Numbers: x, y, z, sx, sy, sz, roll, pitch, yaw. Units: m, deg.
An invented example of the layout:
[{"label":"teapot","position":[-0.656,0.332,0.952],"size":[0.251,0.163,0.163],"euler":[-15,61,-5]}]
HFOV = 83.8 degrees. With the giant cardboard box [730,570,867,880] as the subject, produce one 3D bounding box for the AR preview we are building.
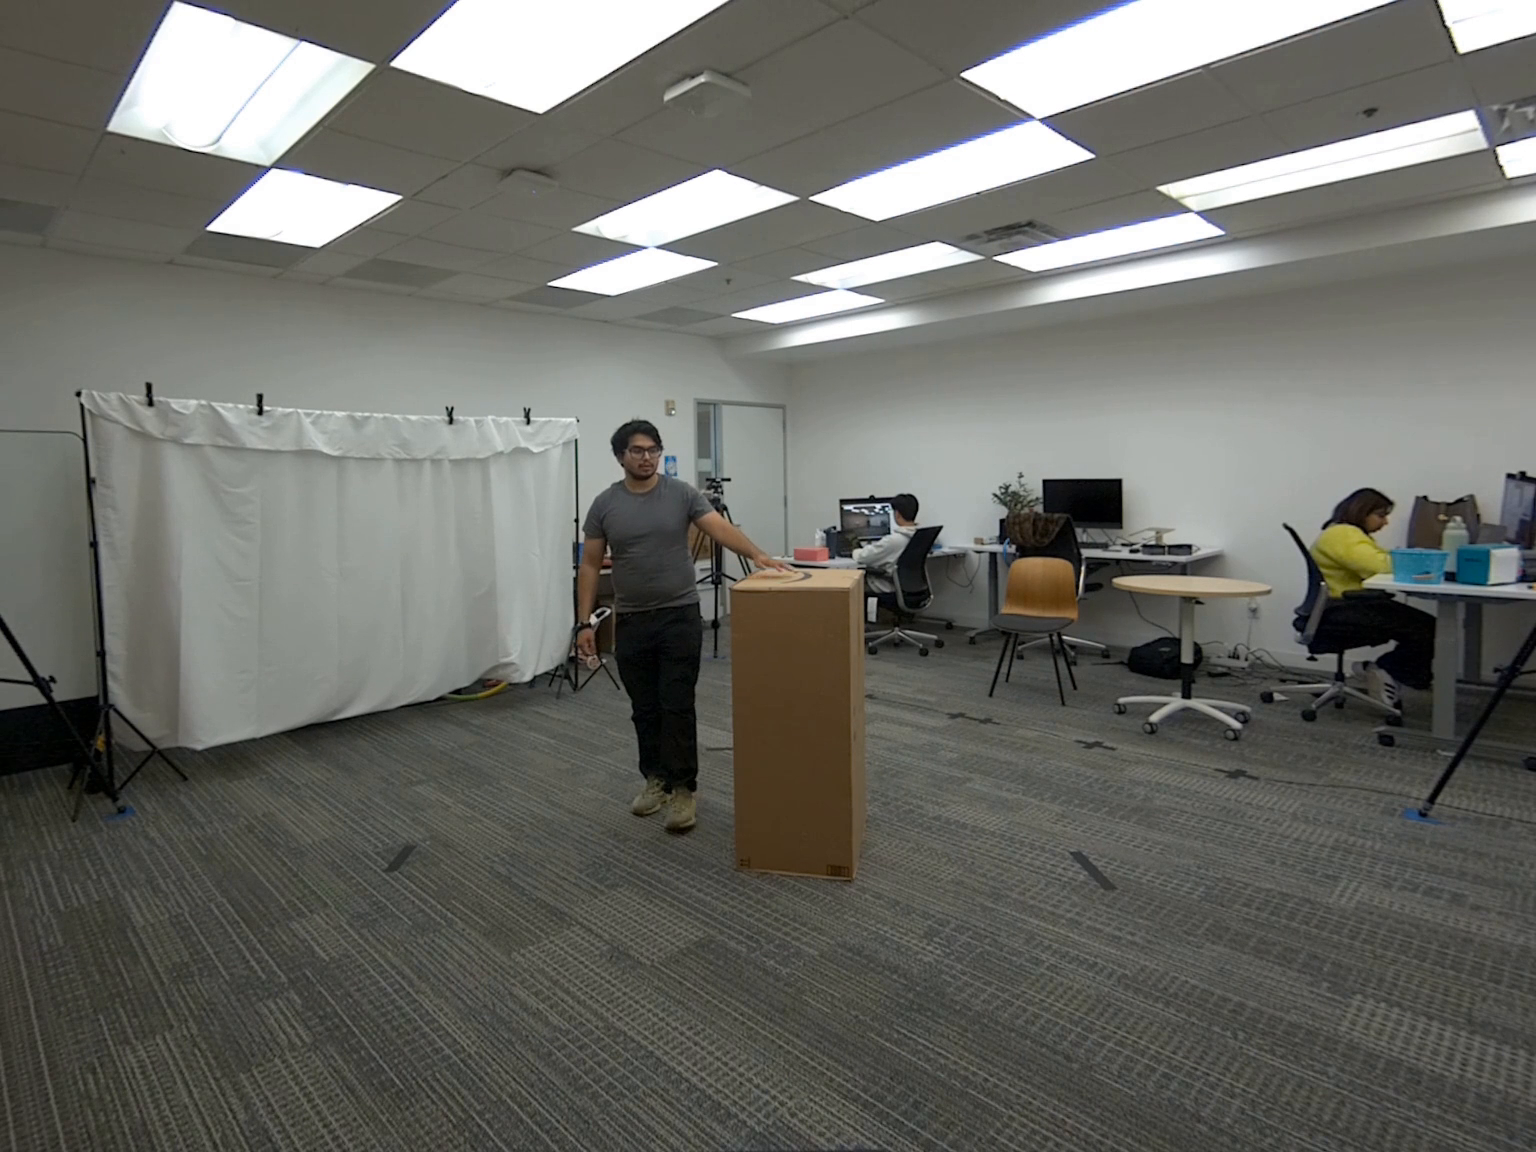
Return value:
[{"label":"giant cardboard box","position":[0.128,0.512,3.236],"size":[0.432,1.022,0.572],"euler":[0,5,13]}]
